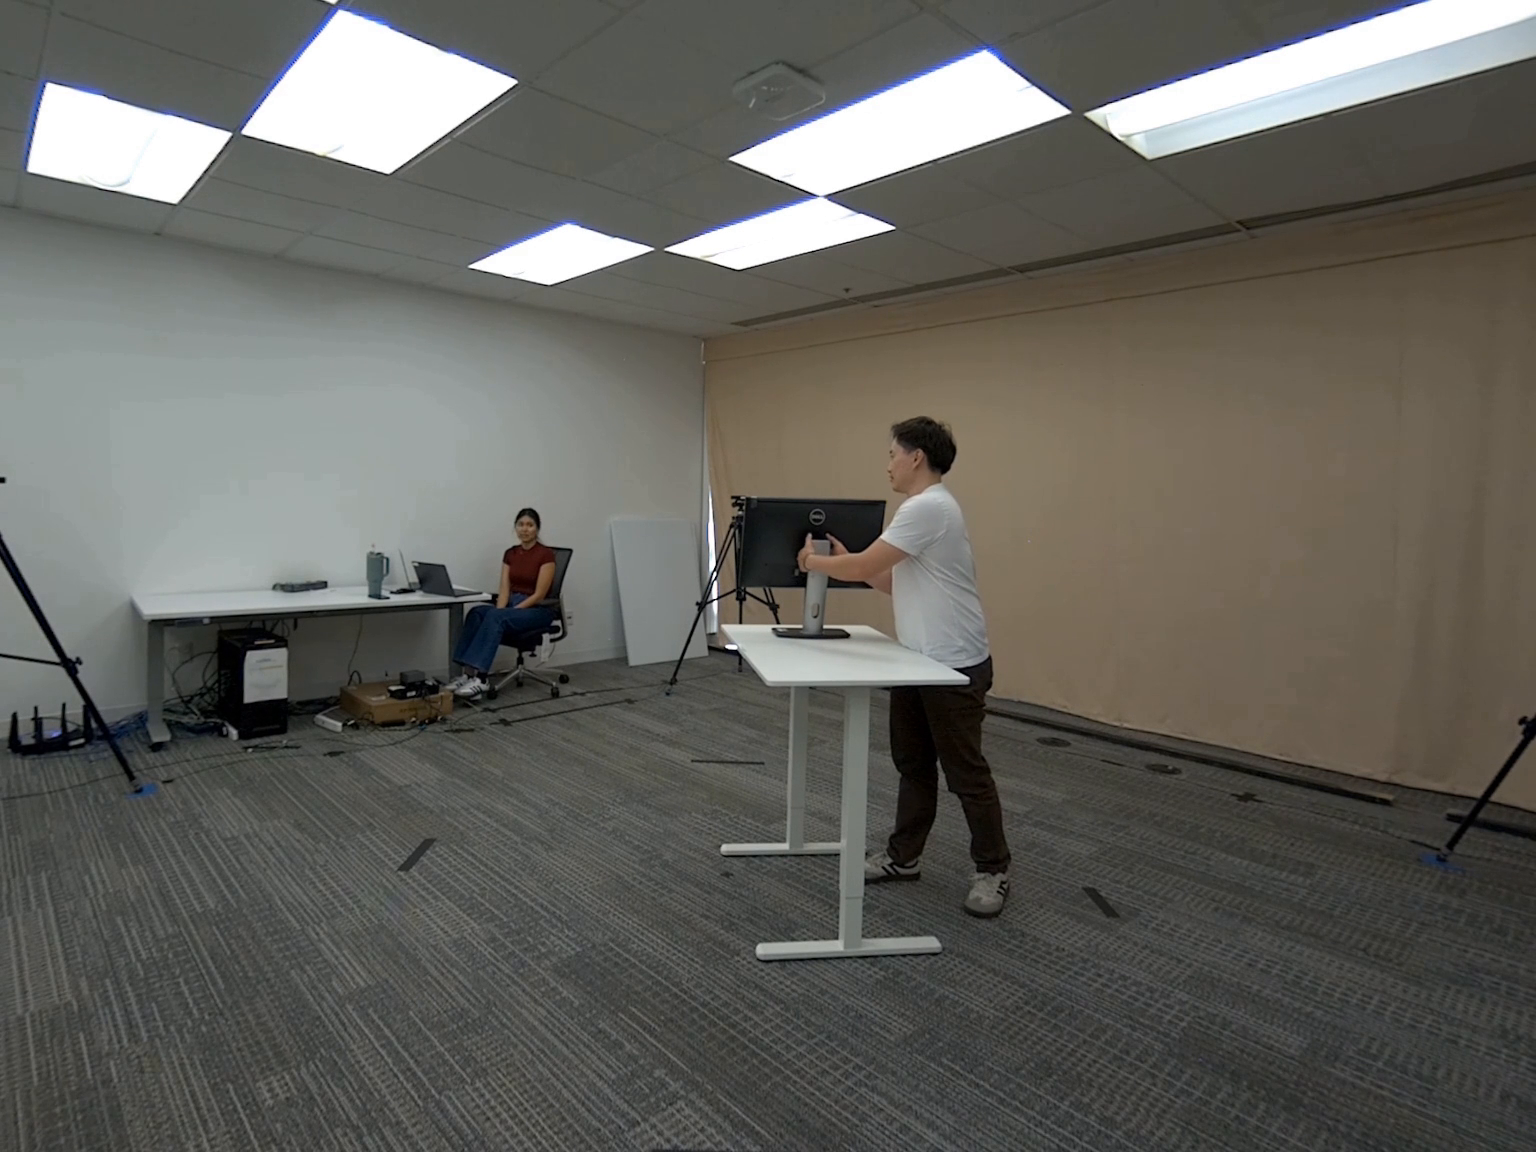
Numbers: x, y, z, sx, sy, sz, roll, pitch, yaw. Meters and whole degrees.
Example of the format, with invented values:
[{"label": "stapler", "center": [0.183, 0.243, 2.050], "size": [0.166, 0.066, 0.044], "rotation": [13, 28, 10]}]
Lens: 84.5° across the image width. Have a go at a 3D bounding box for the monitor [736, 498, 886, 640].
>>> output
[{"label": "monitor", "center": [0.166, -0.029, 3.128], "size": [0.534, 0.520, 0.189], "rotation": [1, 6, -10]}]
